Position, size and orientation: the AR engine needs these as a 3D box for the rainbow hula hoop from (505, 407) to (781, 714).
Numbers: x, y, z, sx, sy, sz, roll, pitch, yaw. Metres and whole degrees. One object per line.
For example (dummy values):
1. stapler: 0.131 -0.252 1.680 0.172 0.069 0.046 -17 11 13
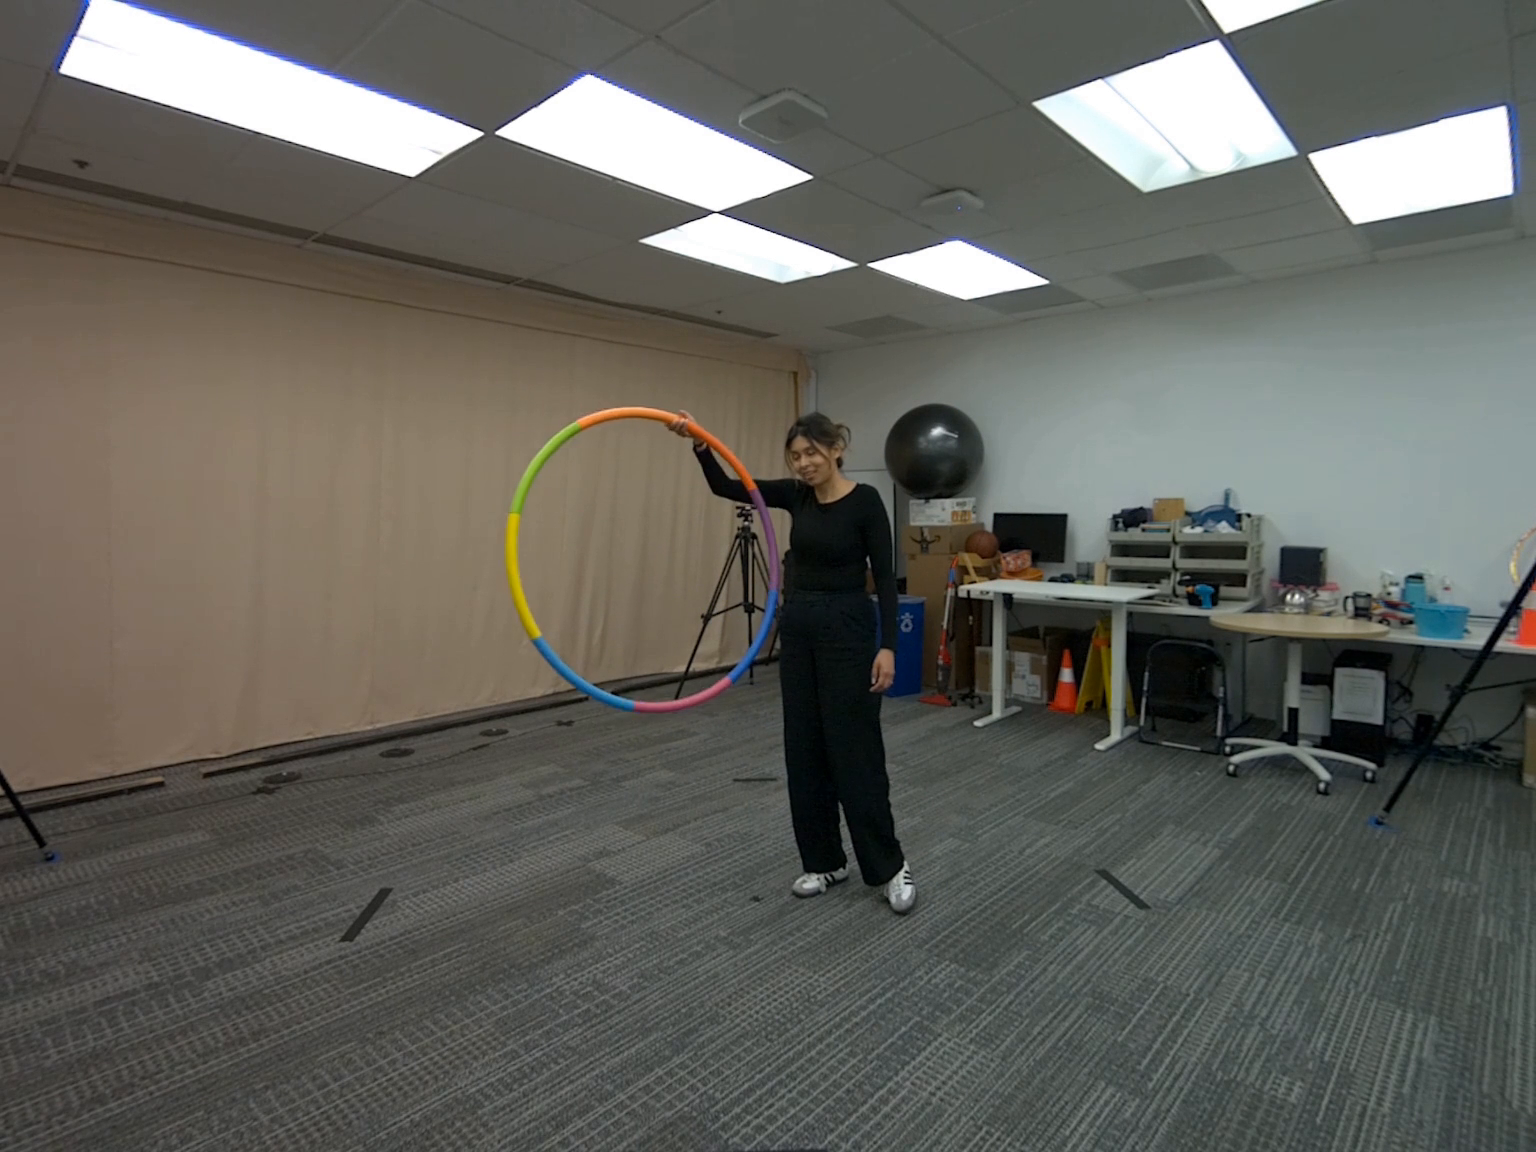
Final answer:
1. rainbow hula hoop: -0.347 -0.066 2.716 0.957 0.991 0.053 -3 -9 -34
